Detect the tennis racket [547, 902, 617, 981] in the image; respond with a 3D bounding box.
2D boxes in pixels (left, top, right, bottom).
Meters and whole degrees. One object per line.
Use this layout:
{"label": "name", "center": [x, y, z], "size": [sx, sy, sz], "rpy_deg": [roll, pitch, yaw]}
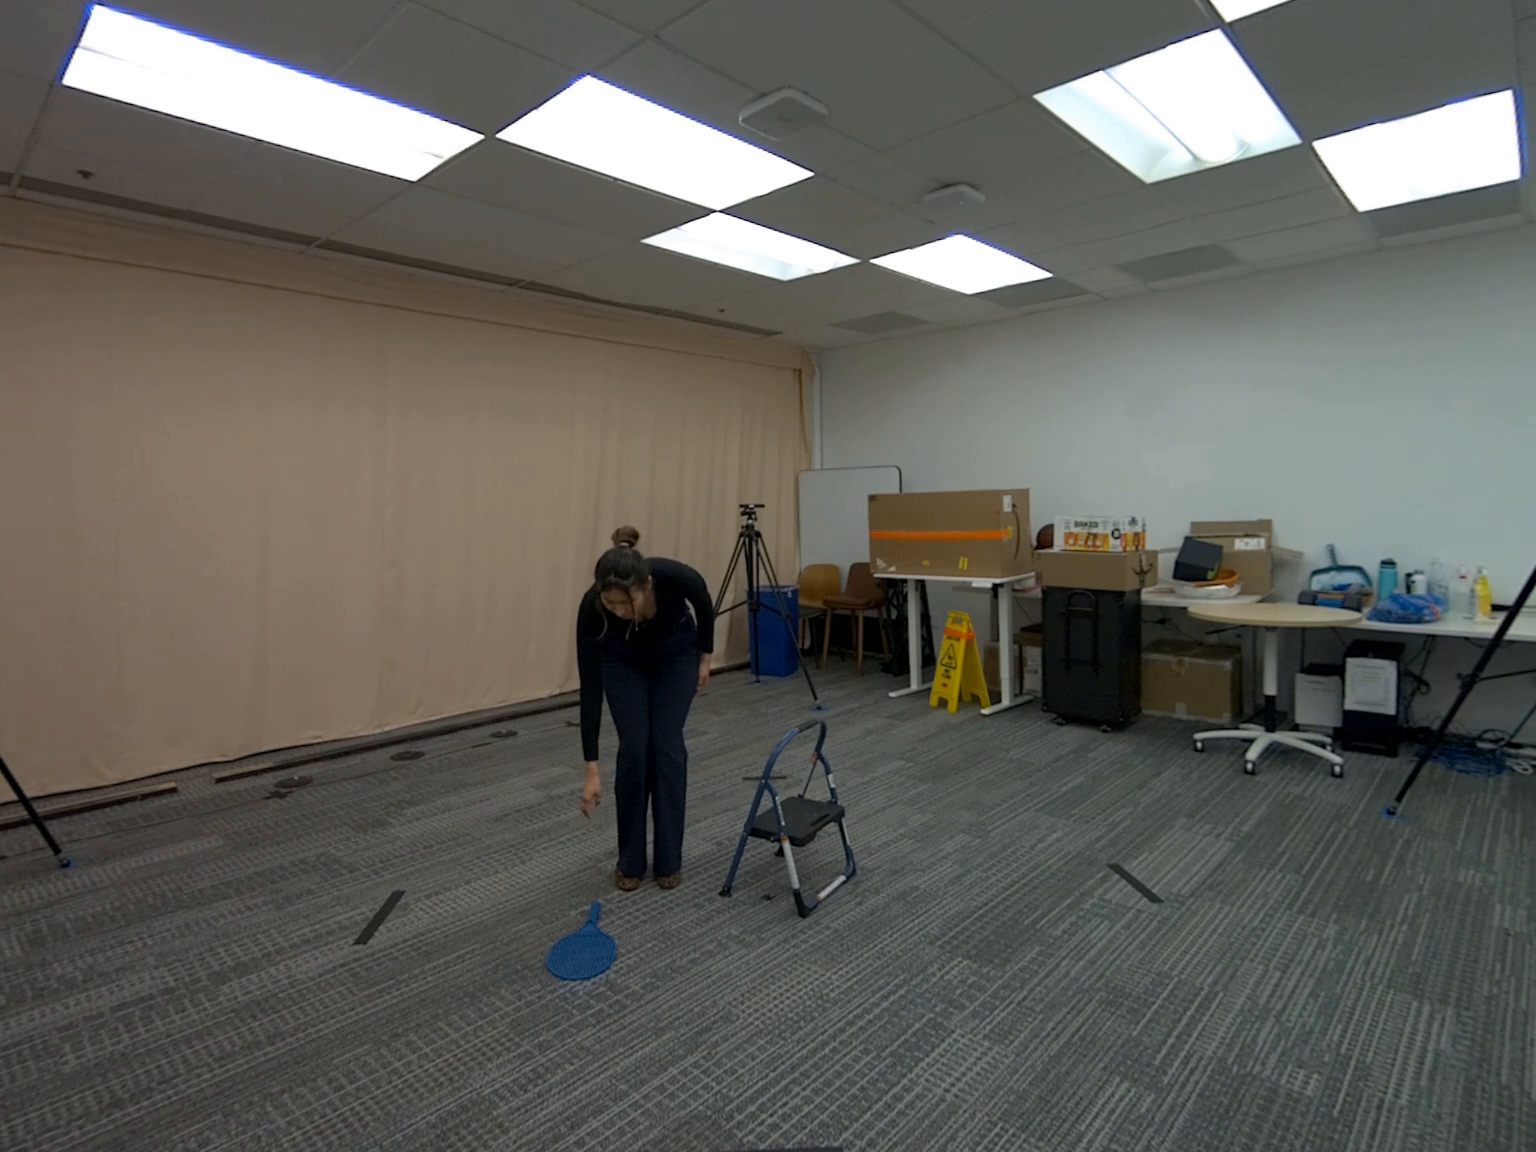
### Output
{"label": "tennis racket", "center": [-0.575, 1.157, 2.696], "size": [0.214, 0.031, 0.433], "rpy_deg": [-1, 7, 1]}
